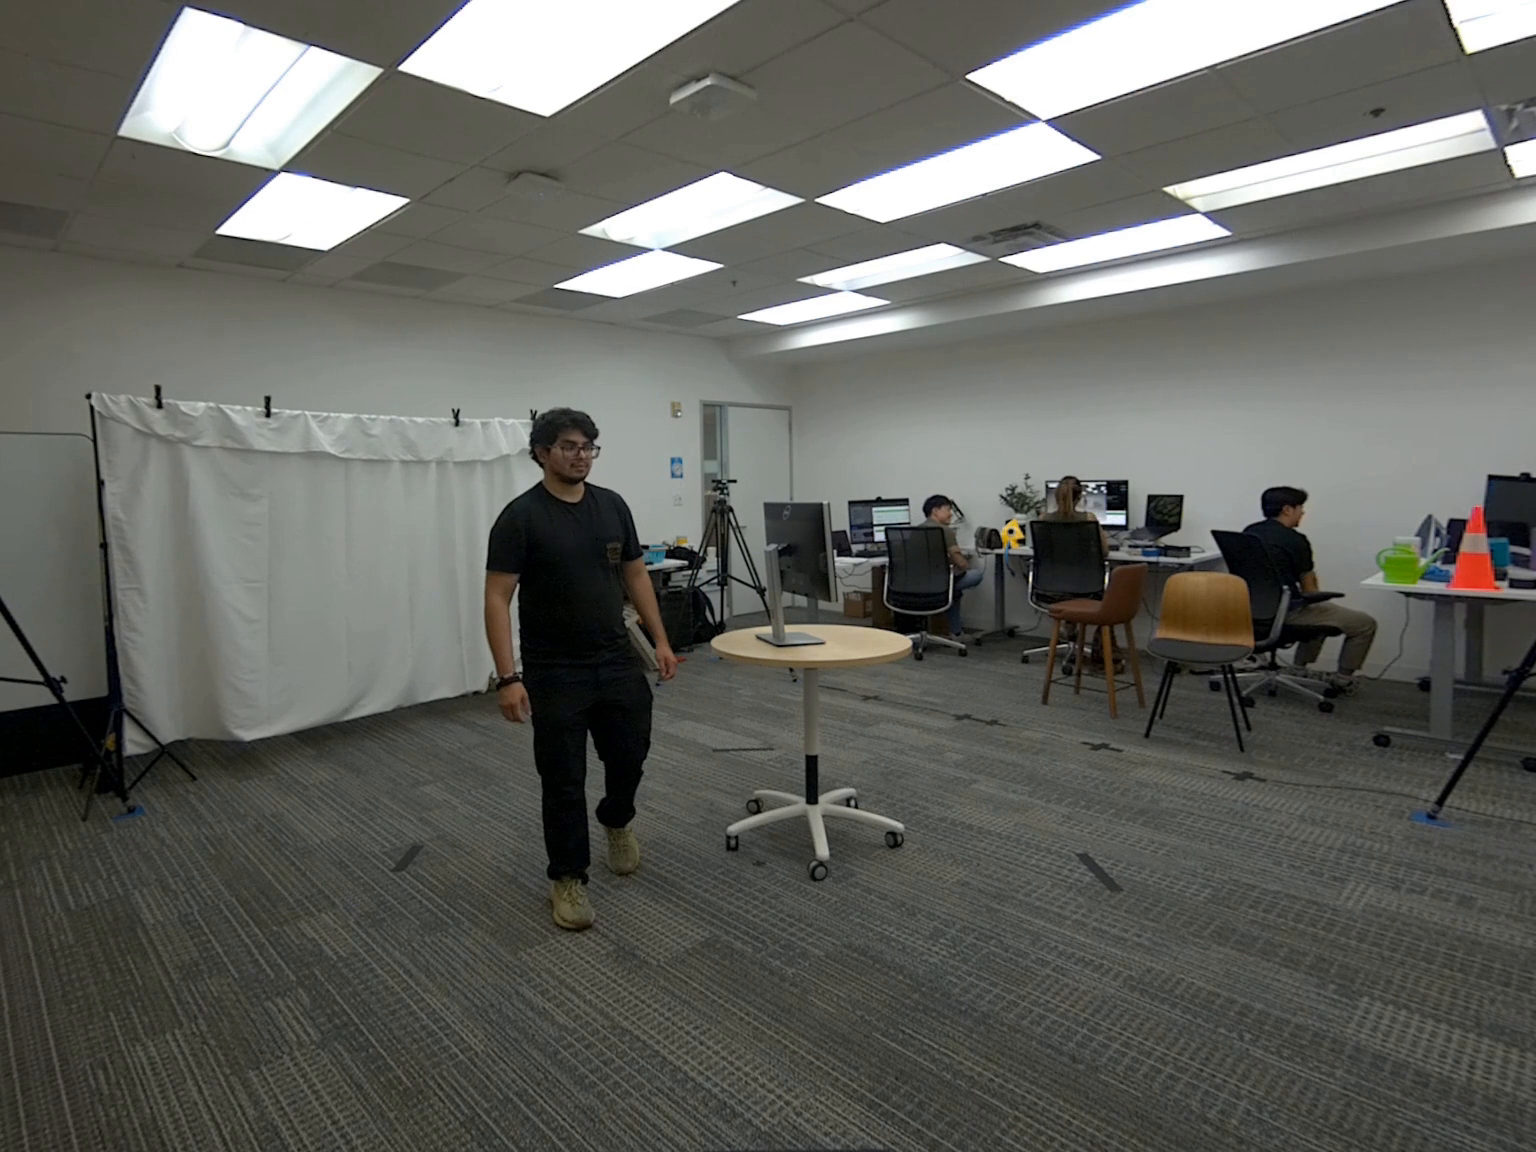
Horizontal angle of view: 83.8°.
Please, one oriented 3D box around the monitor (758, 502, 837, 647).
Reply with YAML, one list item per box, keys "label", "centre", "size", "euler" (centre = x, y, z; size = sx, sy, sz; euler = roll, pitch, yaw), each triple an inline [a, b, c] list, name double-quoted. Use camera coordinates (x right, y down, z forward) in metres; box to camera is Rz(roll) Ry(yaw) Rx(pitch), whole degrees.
- label: "monitor"
  centre: [0.060, -0.013, 3.271]
  size: [0.206, 0.551, 0.578]
  euler: [-5, 6, -21]
